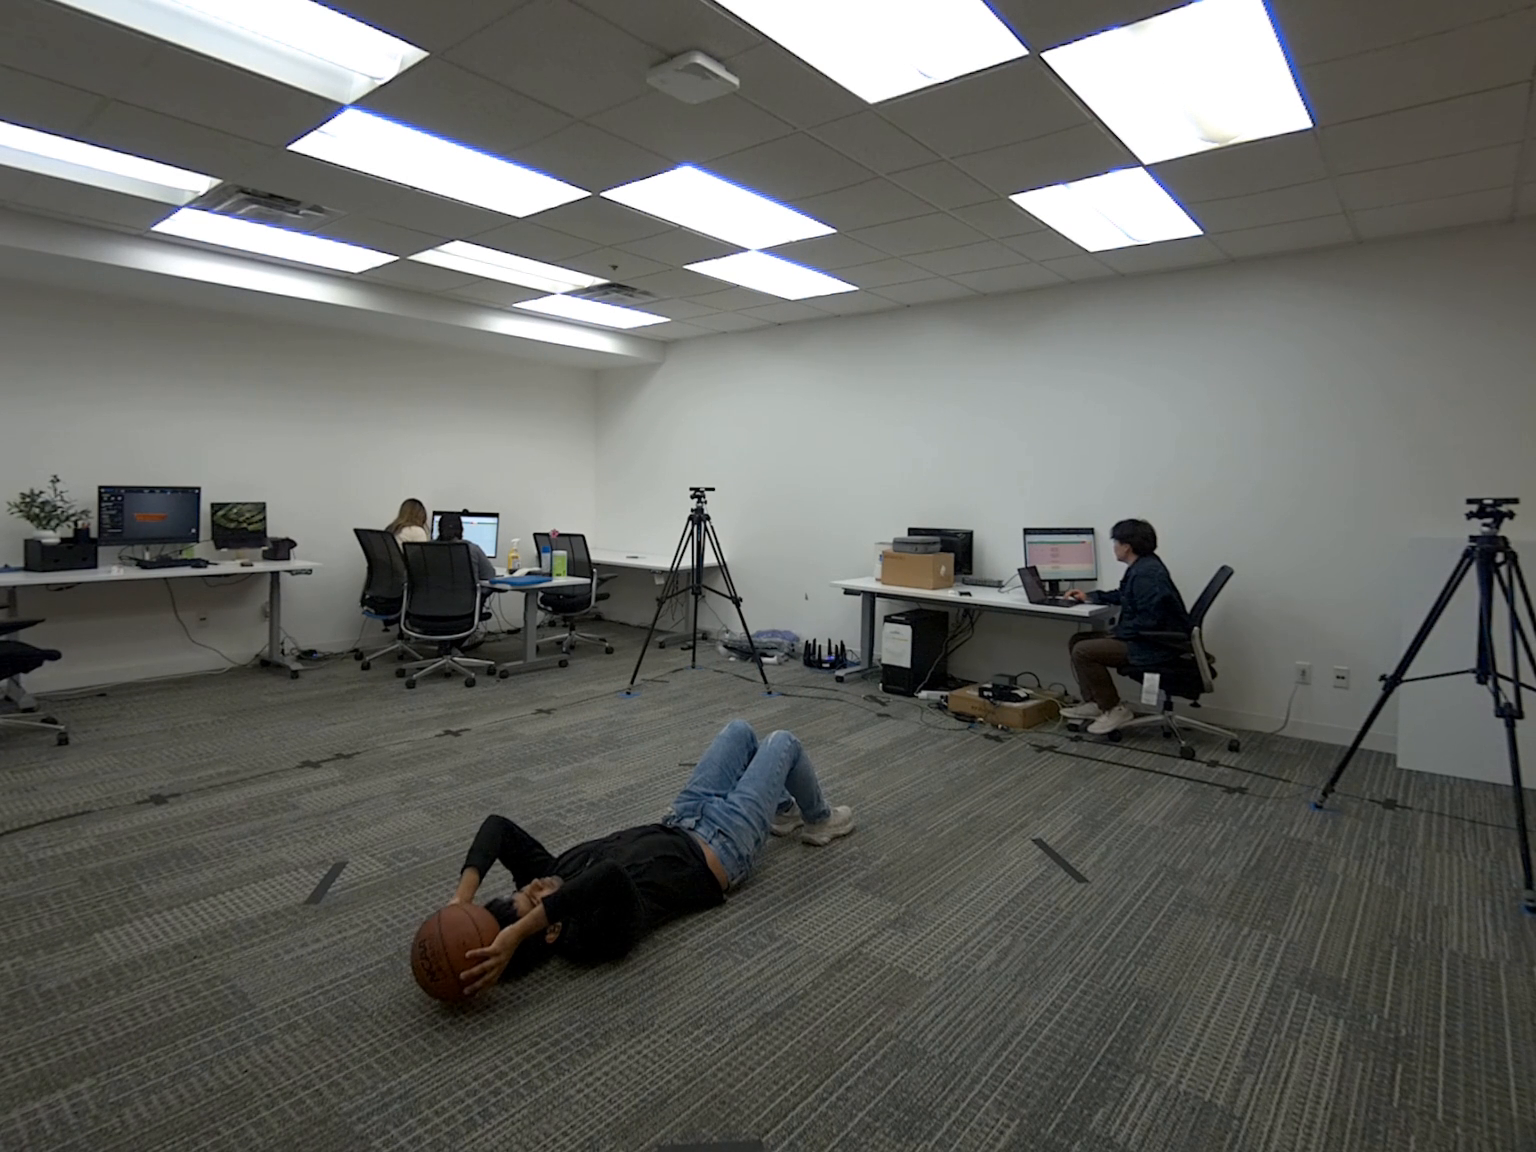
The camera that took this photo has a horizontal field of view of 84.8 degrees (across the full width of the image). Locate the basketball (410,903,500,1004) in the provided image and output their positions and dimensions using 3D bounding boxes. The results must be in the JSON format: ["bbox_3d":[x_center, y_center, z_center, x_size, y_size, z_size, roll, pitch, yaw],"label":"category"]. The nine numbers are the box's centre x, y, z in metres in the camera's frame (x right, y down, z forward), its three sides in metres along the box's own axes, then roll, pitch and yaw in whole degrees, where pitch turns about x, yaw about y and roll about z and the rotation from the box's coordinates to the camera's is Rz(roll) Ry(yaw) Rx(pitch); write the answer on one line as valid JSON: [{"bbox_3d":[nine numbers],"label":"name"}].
[{"bbox_3d":[-0.840,0.995,2.285,0.235,0.235,0.237,1,4,-2],"label":"basketball"}]
